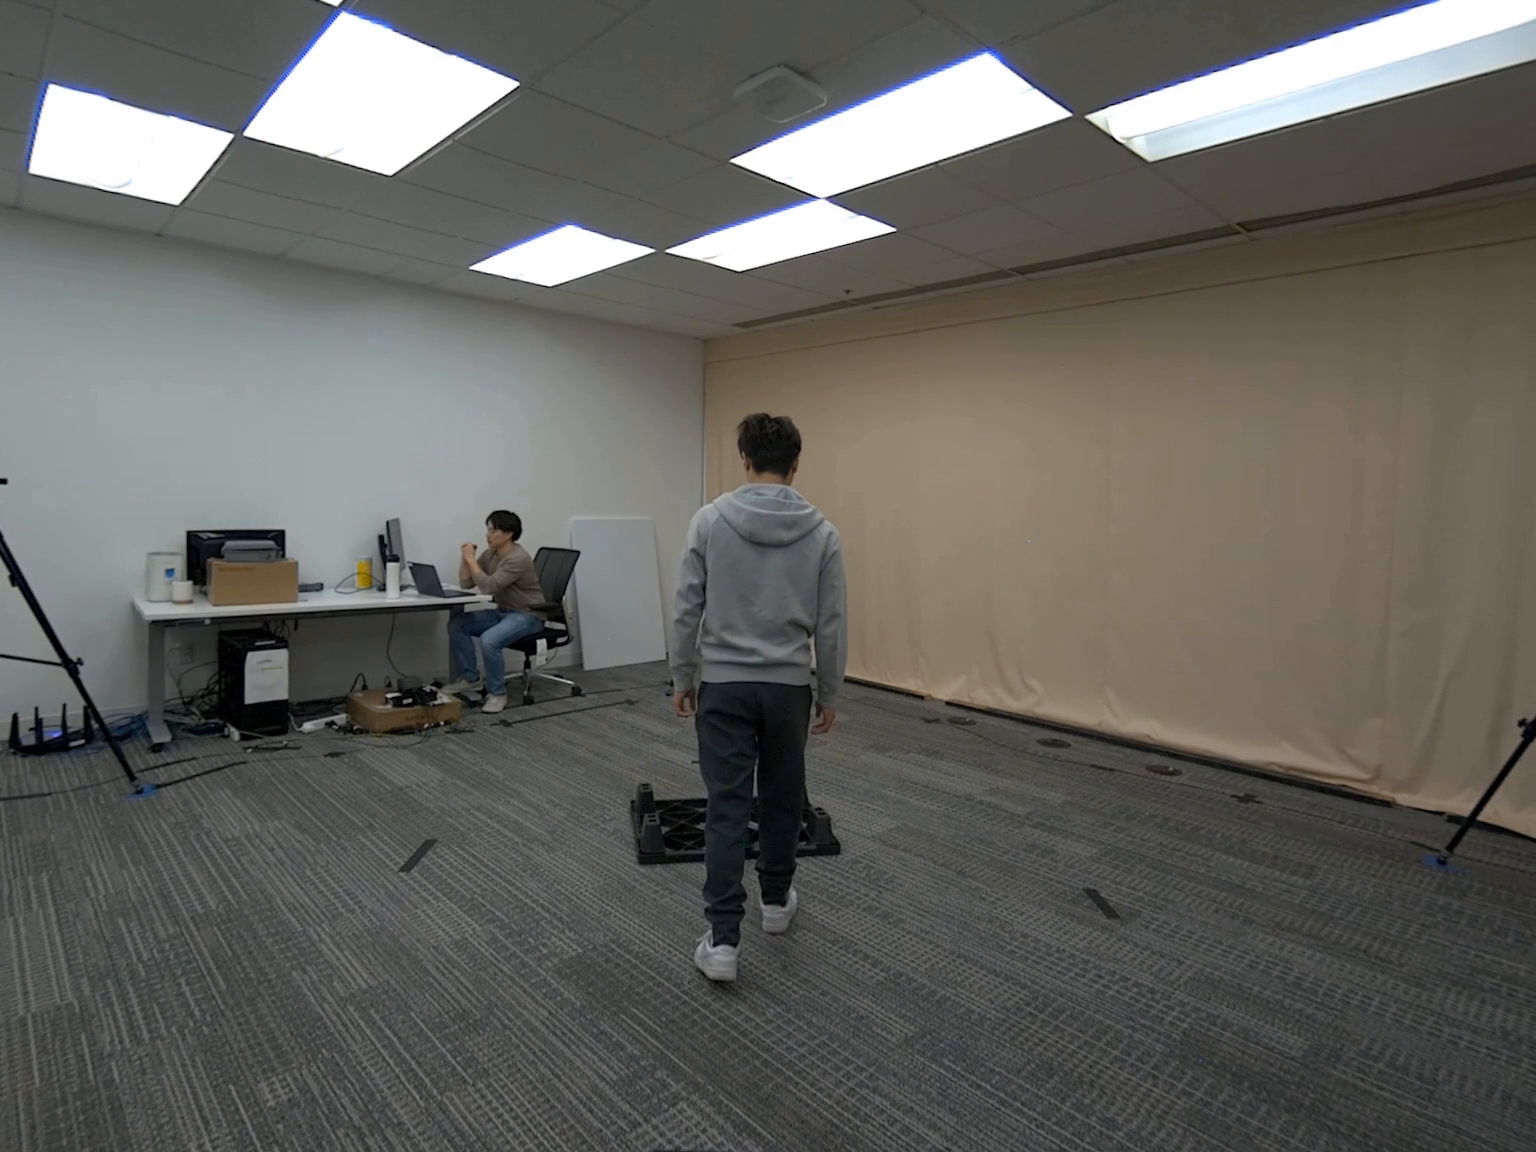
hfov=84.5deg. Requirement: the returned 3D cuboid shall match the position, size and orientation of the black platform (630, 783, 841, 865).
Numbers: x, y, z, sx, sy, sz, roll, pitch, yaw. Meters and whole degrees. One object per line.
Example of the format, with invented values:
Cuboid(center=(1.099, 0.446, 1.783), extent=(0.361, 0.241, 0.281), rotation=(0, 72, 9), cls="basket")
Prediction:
Cuboid(center=(-0.171, 1.002, 3.529), extent=(0.798, 0.143, 0.612), rotation=(0, 5, -12), cls="black platform")
